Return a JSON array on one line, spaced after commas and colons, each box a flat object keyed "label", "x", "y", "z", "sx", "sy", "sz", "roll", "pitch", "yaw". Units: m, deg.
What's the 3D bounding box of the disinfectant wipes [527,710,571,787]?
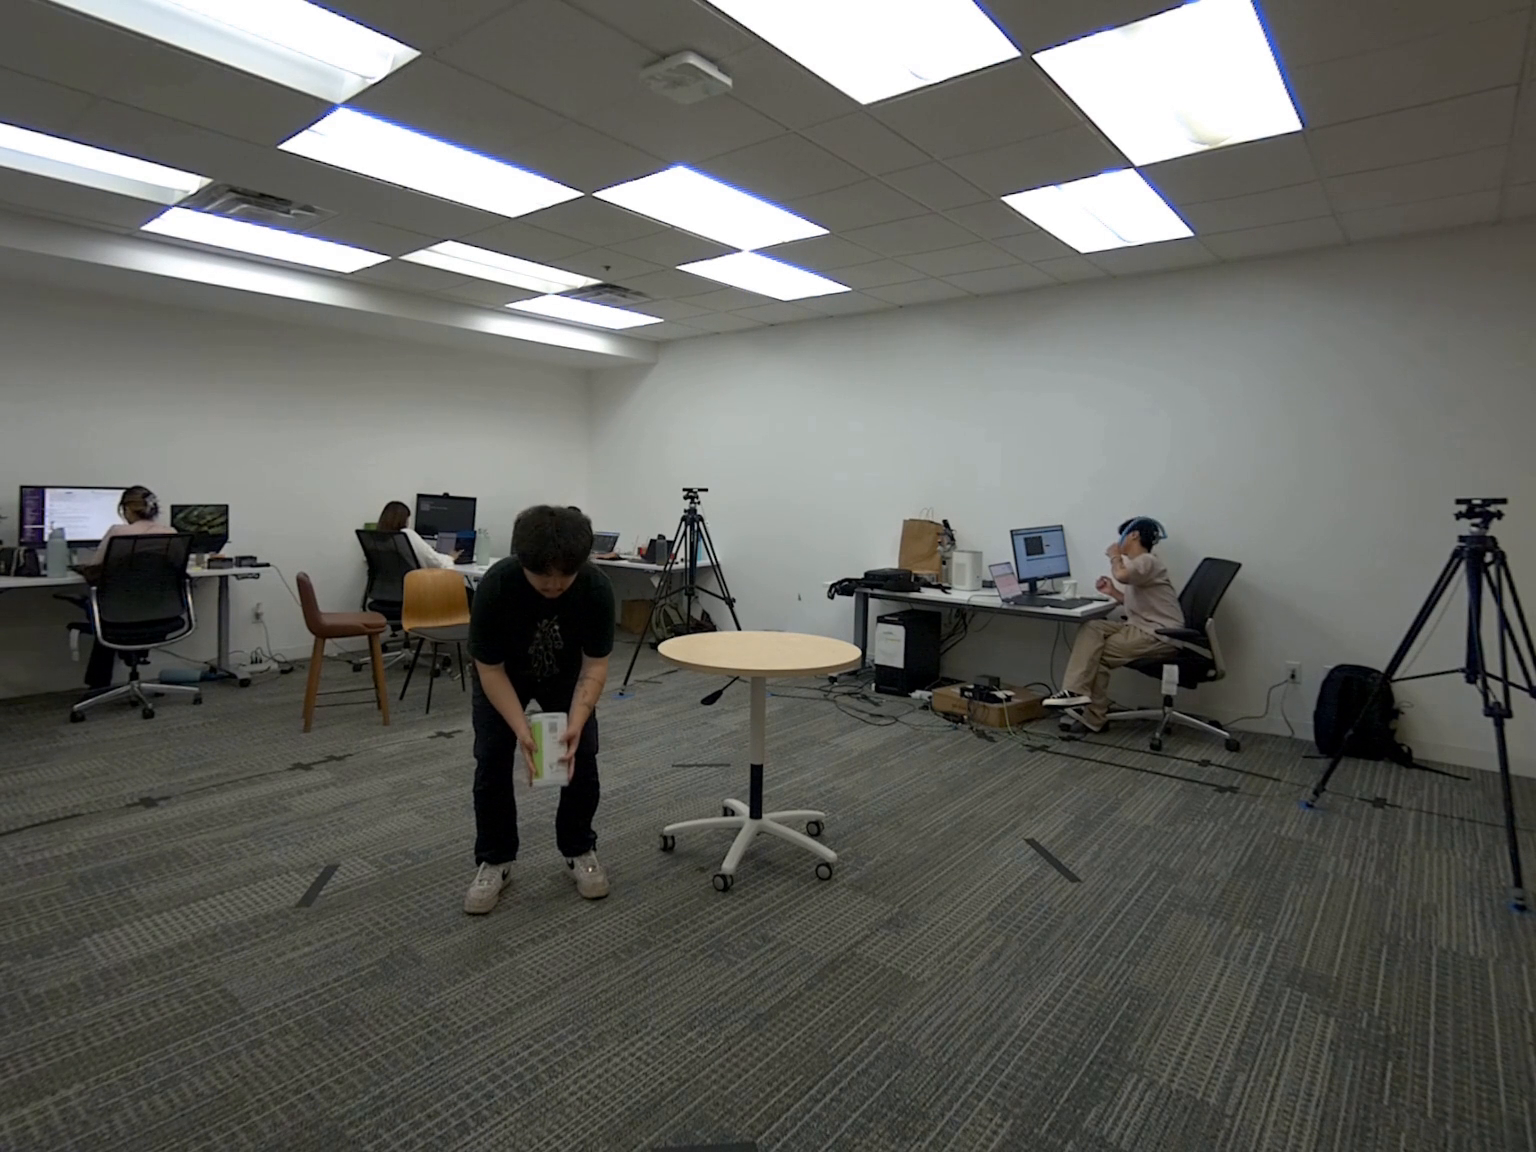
[{"label": "disinfectant wipes", "x": -0.663, "y": 0.525, "z": 2.571, "sx": 0.117, "sy": 0.221, "sz": 0.116, "roll": -2, "pitch": -15, "yaw": -2}]
